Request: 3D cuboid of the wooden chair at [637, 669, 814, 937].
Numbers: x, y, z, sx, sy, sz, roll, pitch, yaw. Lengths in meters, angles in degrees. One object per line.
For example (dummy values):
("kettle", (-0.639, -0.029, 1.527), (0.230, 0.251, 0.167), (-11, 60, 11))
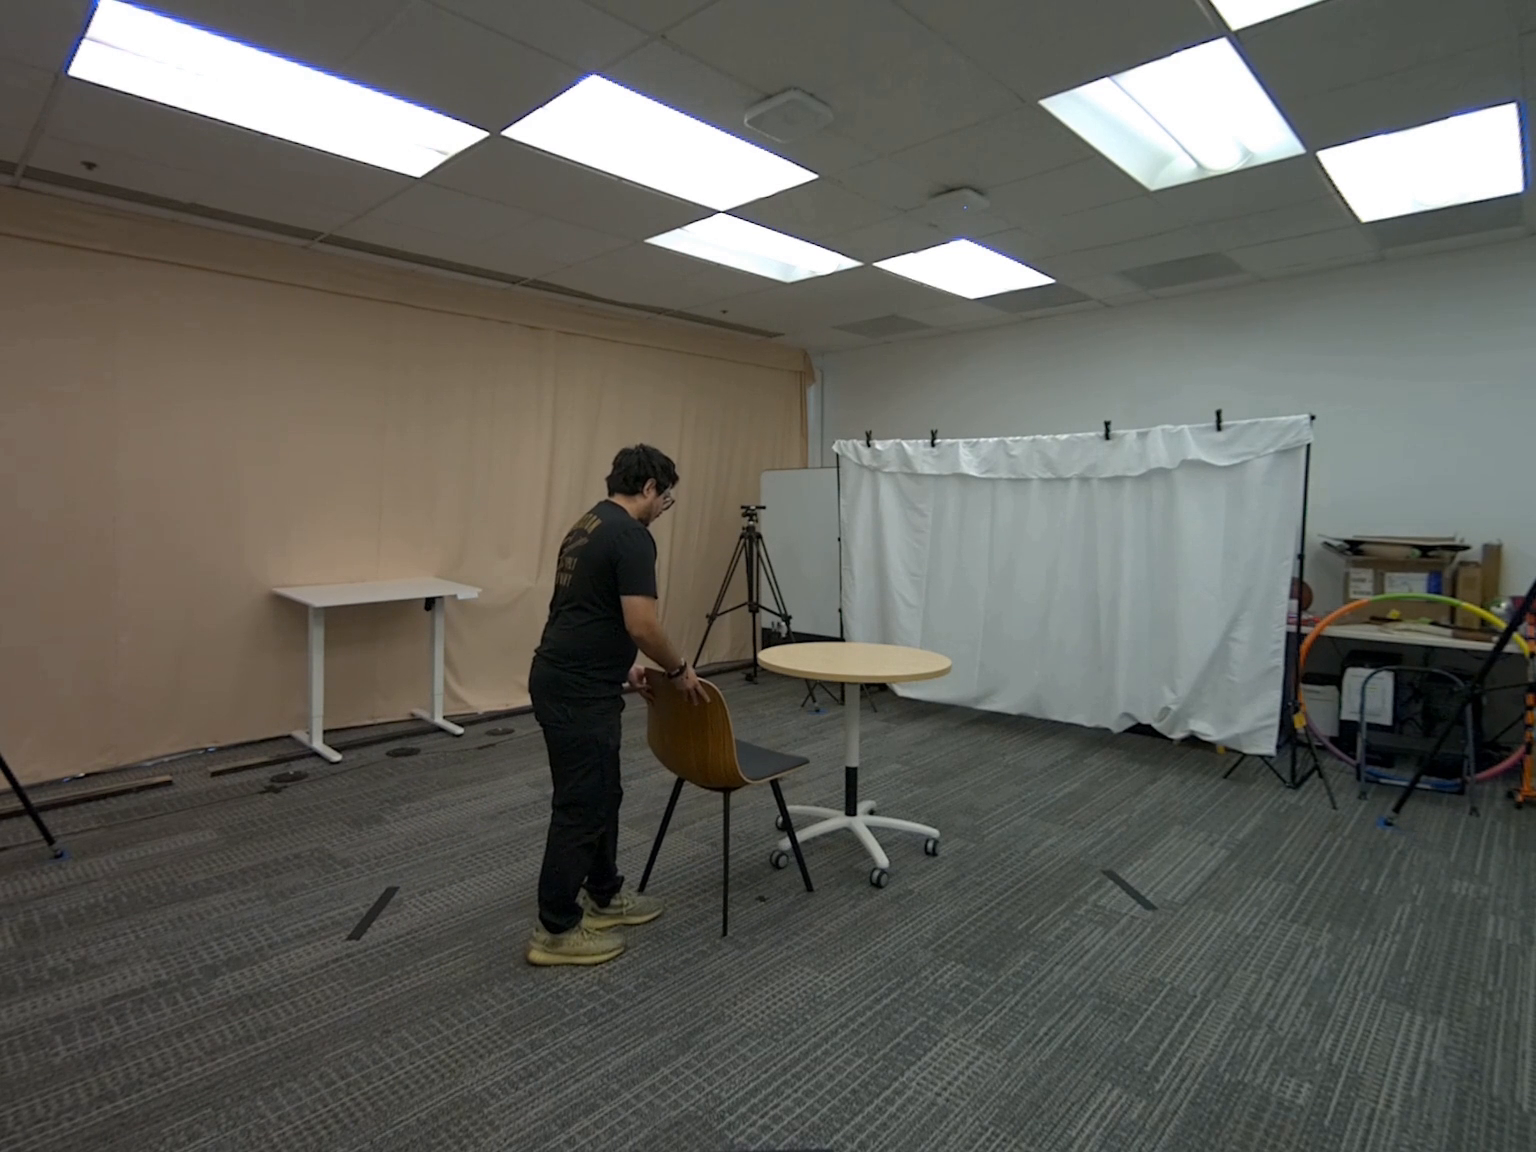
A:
("wooden chair", (-0.147, 0.712, 3.012), (0.494, 0.873, 0.508), (2, 9, 44))
